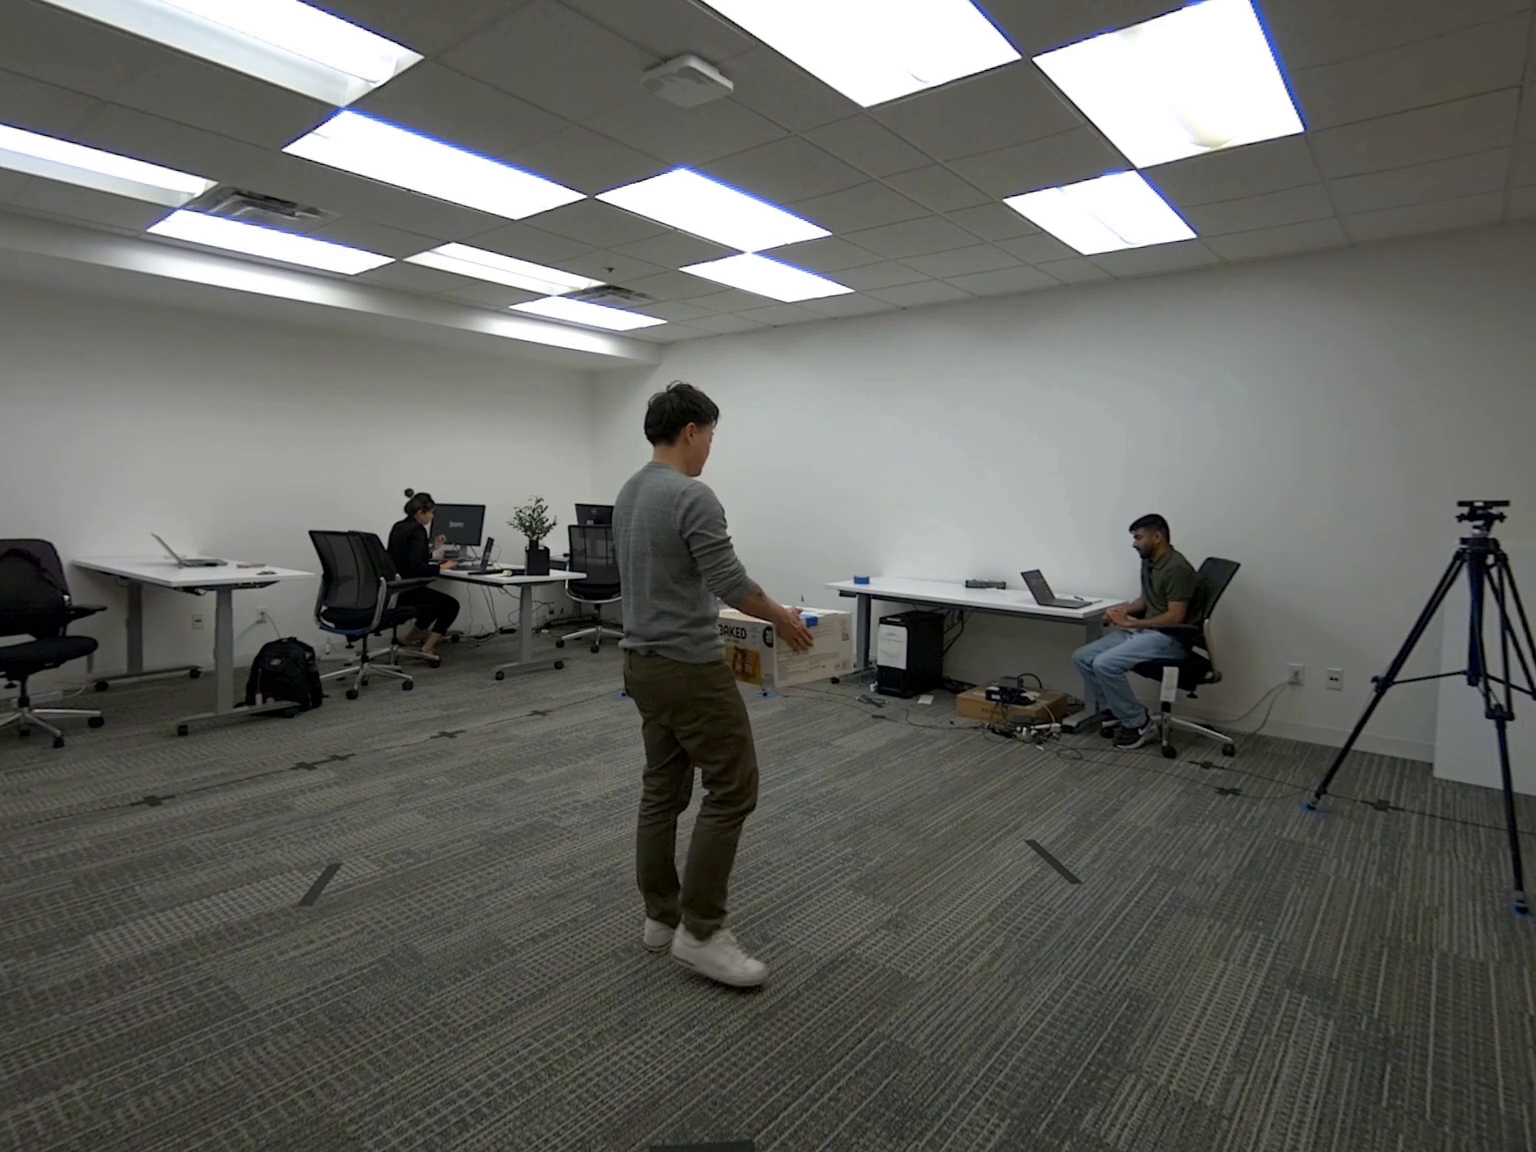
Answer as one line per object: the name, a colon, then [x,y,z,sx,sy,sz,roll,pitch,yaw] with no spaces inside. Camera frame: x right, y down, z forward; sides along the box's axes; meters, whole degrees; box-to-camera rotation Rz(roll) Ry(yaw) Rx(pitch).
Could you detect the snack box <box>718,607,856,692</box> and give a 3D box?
snack box: [0.008,0.219,2.828,0.331,0.205,0.418,-5,5,-39]
